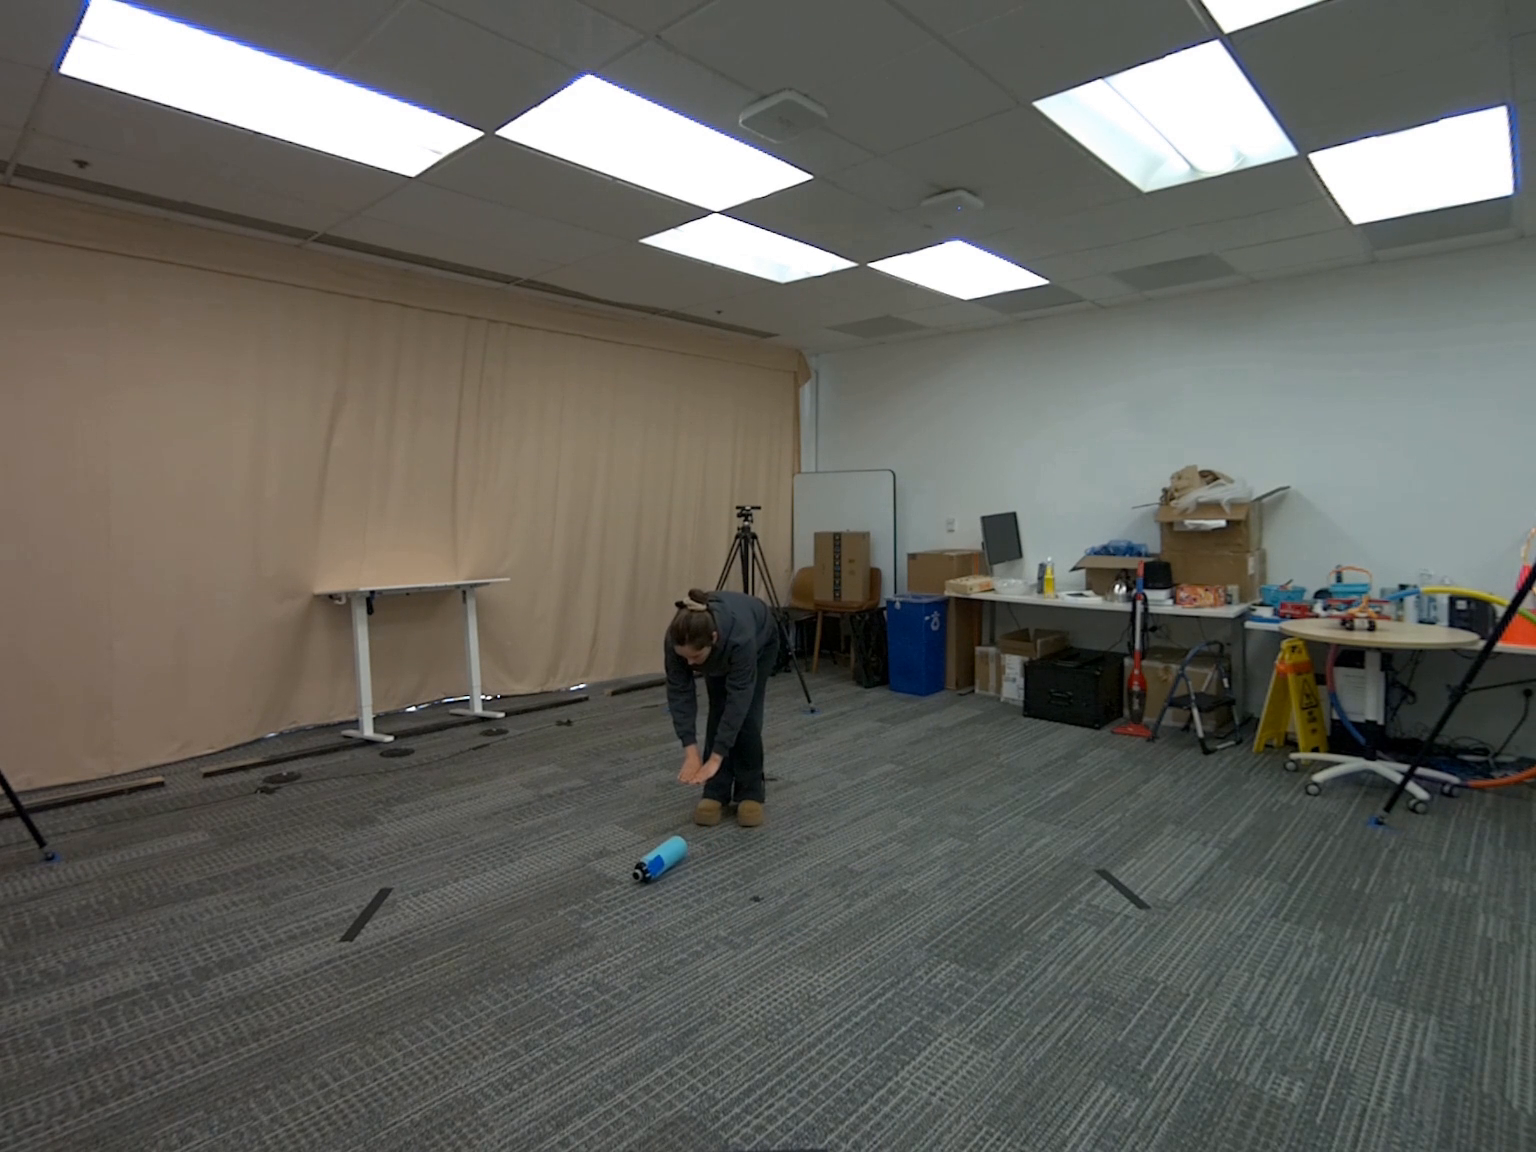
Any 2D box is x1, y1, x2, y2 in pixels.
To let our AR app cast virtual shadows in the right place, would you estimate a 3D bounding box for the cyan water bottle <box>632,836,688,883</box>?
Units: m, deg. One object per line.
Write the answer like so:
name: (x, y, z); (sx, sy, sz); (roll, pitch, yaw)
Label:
cyan water bottle: (-0.389, 1.082, 3.212); (0.095, 0.092, 0.277); (1, 5, 24)
